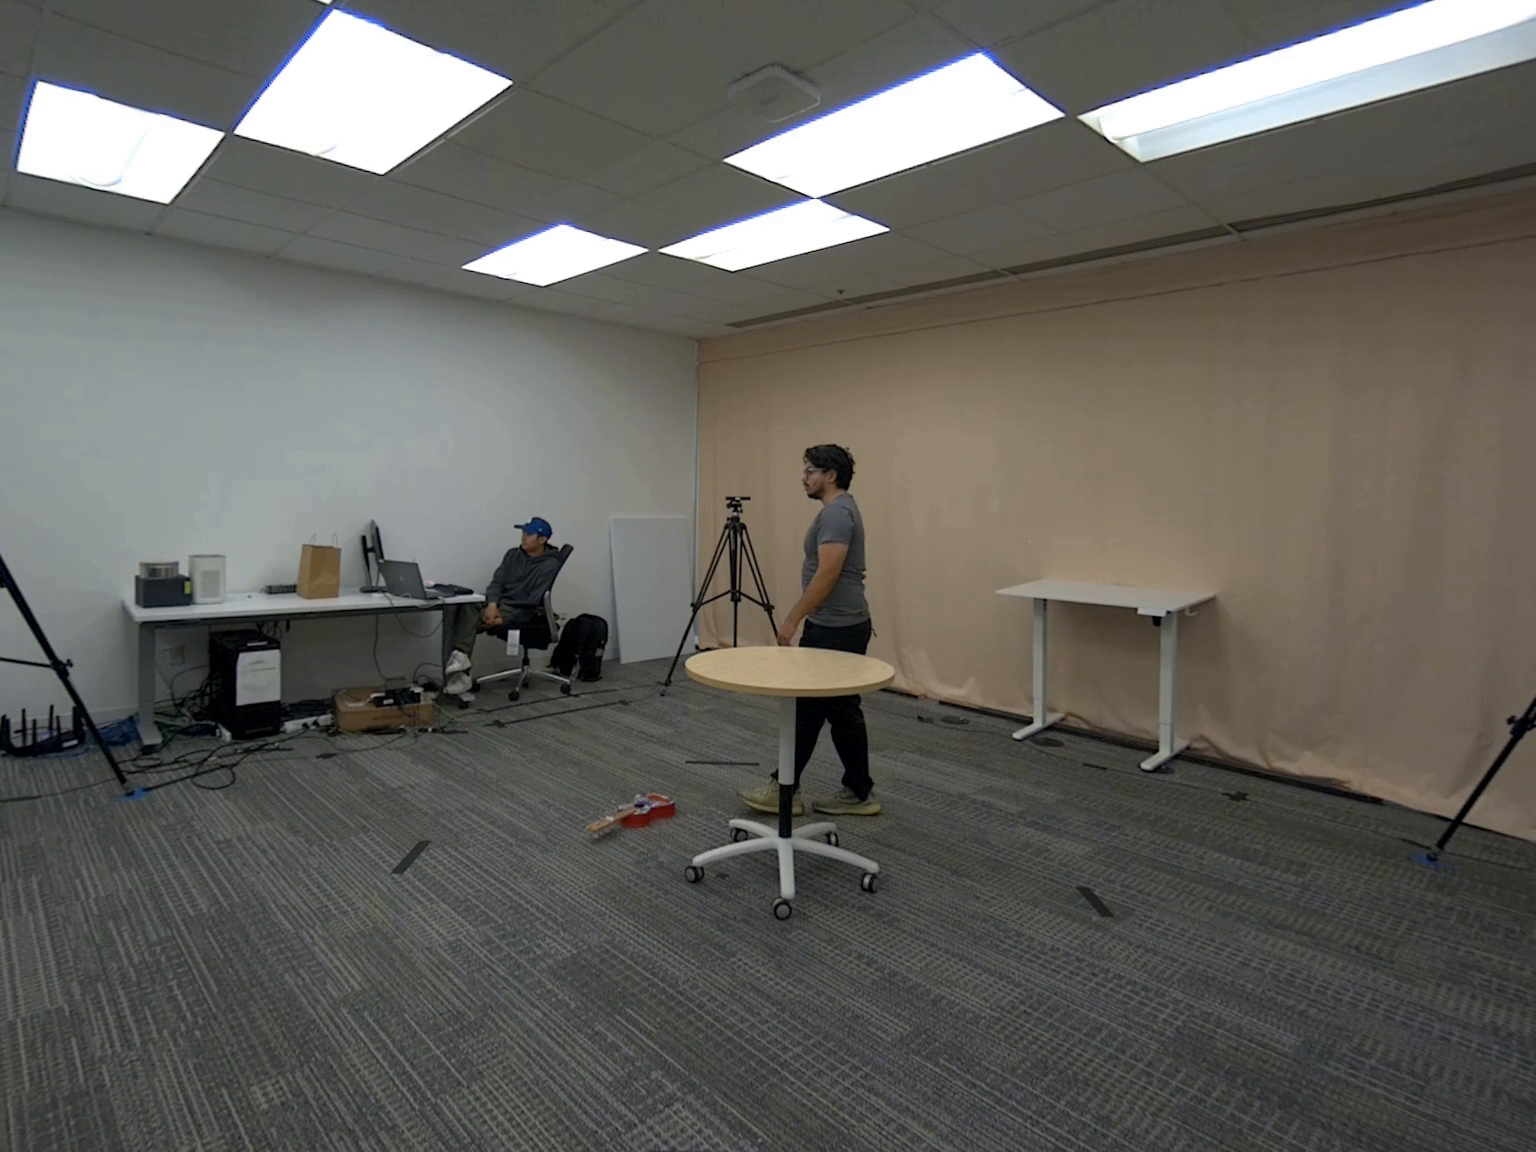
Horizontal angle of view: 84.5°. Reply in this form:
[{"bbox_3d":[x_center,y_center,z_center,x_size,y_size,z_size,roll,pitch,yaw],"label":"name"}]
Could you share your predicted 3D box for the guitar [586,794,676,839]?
[{"bbox_3d":[-0.626,1.020,3.585,0.198,0.070,0.487,5,5,38],"label":"guitar"}]
